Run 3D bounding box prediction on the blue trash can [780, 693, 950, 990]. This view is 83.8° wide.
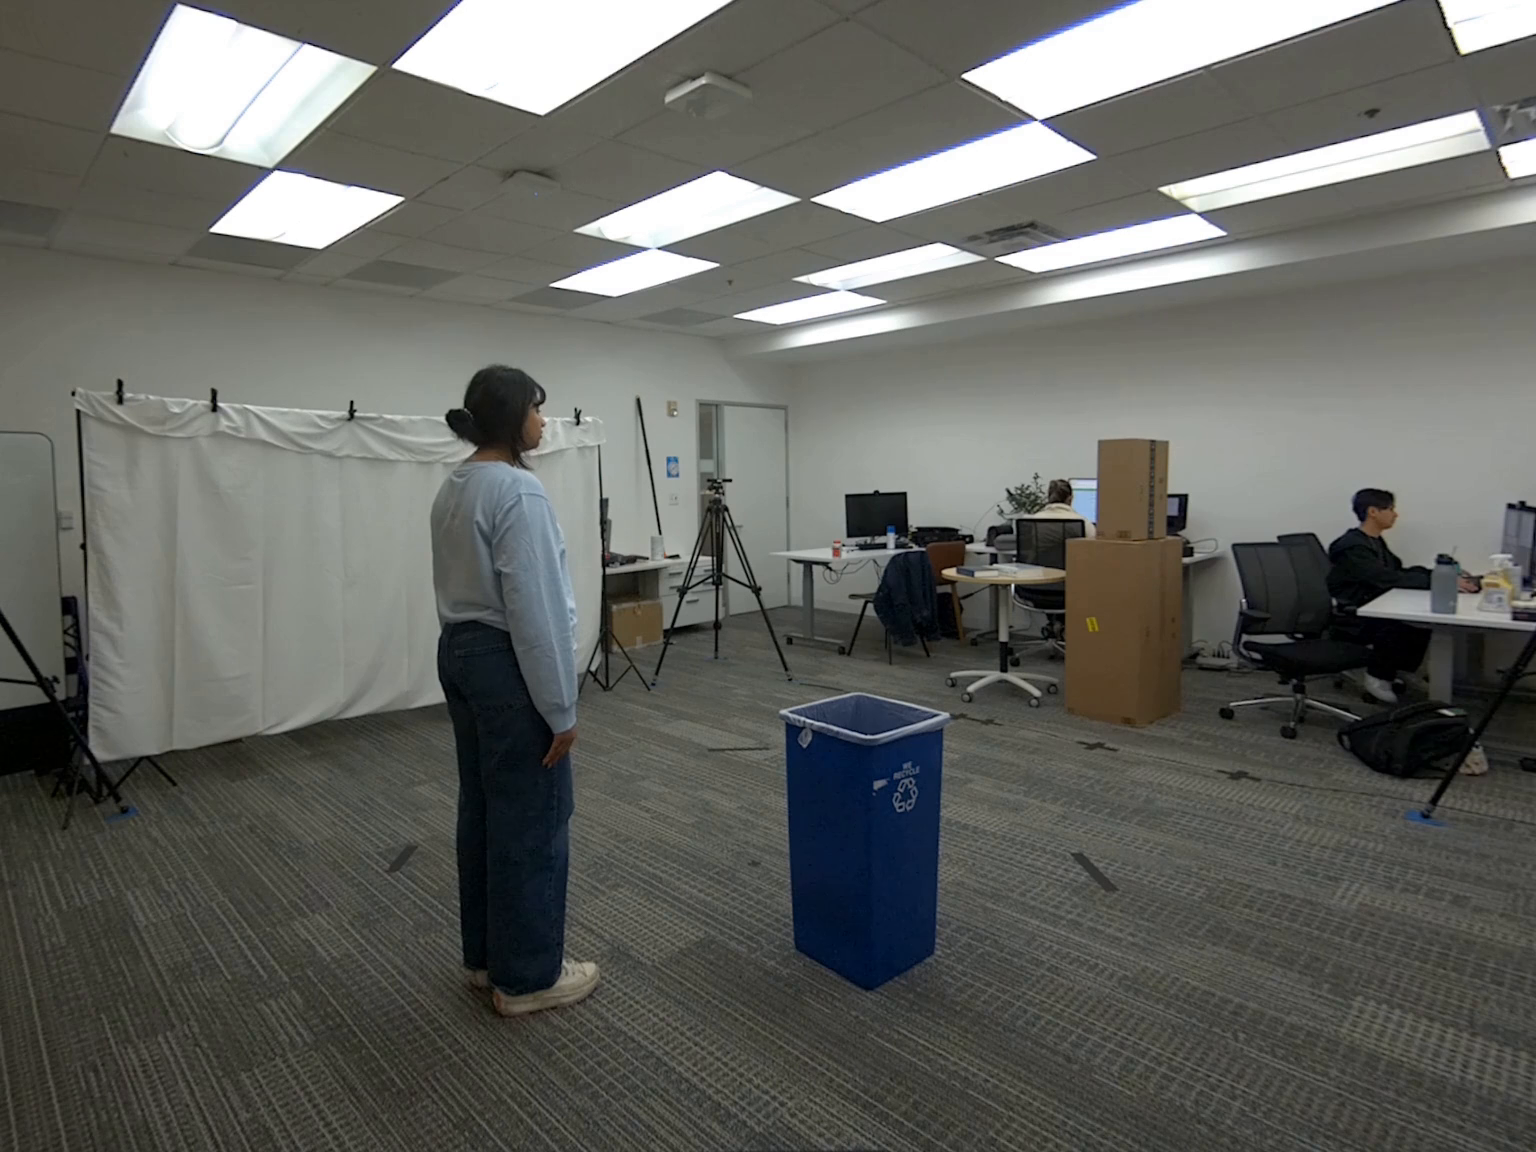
[{"bbox_3d":[0.289,0.752,2.514,0.364,0.711,0.390,-4,5,-41],"label":"blue trash can"}]
